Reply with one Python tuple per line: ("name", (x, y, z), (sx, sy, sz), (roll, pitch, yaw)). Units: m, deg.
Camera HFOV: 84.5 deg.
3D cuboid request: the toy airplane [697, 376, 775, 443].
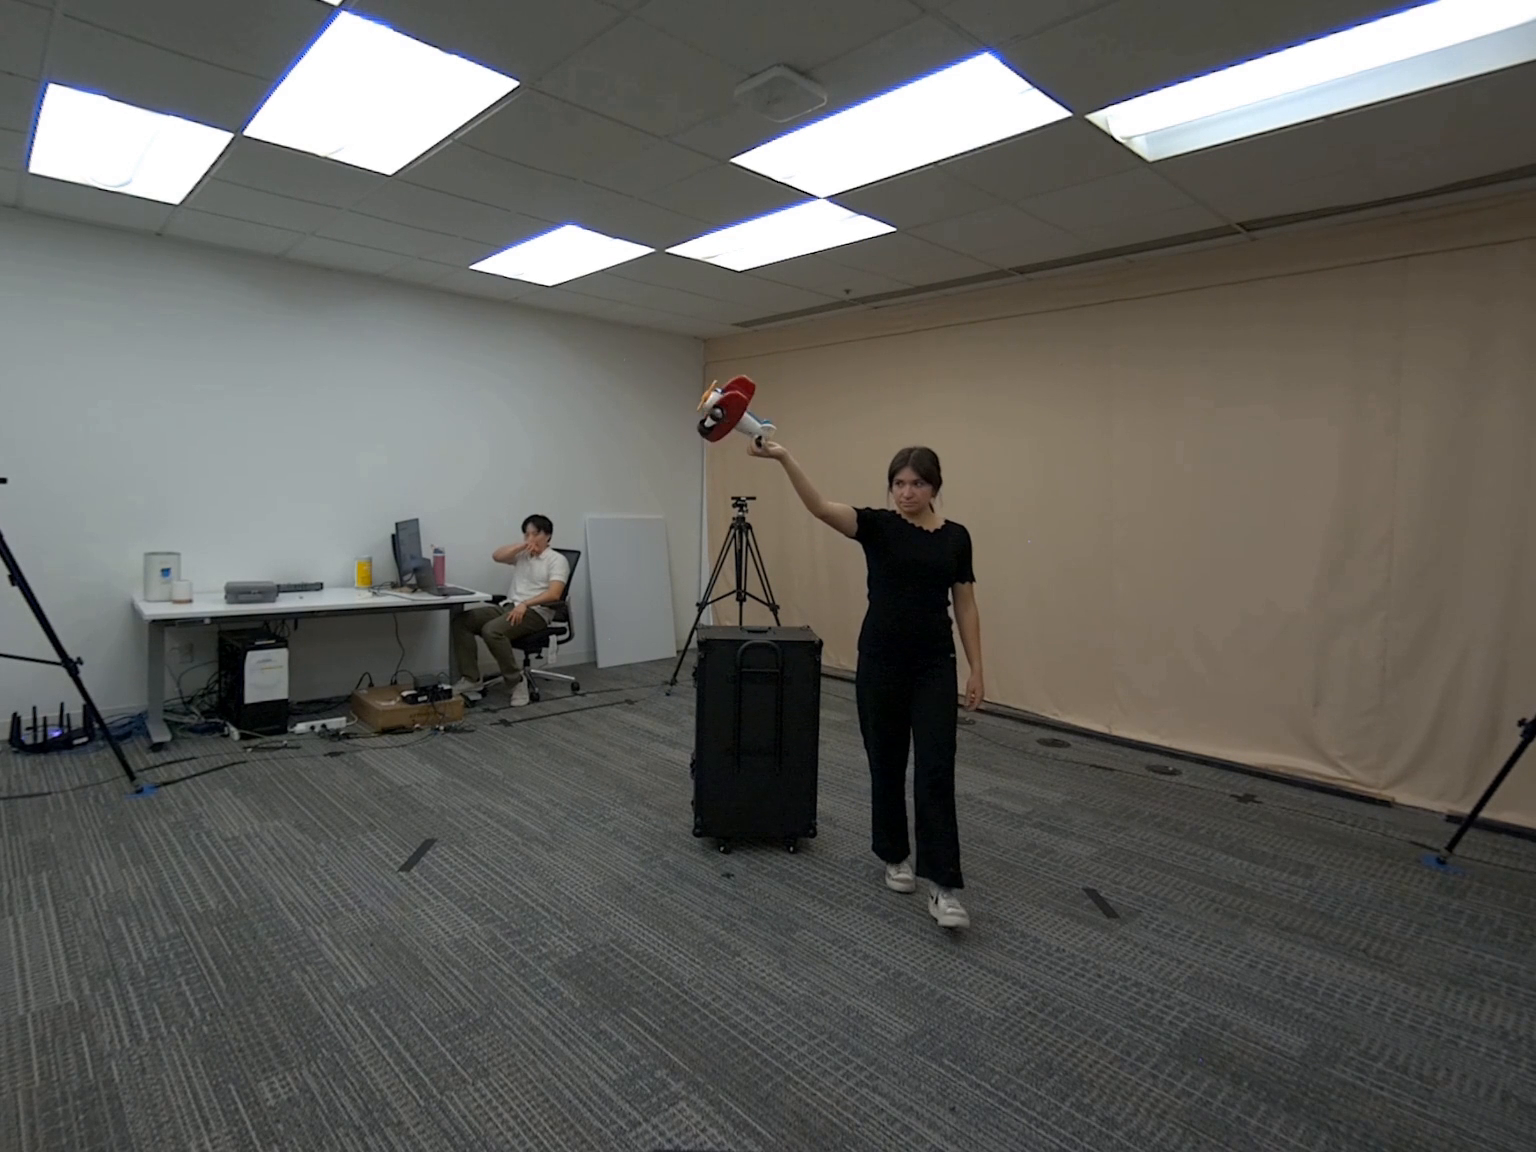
("toy airplane", (-0.119, -0.510, 2.773), (0.255, 0.159, 0.251), (-13, -37, 32))
